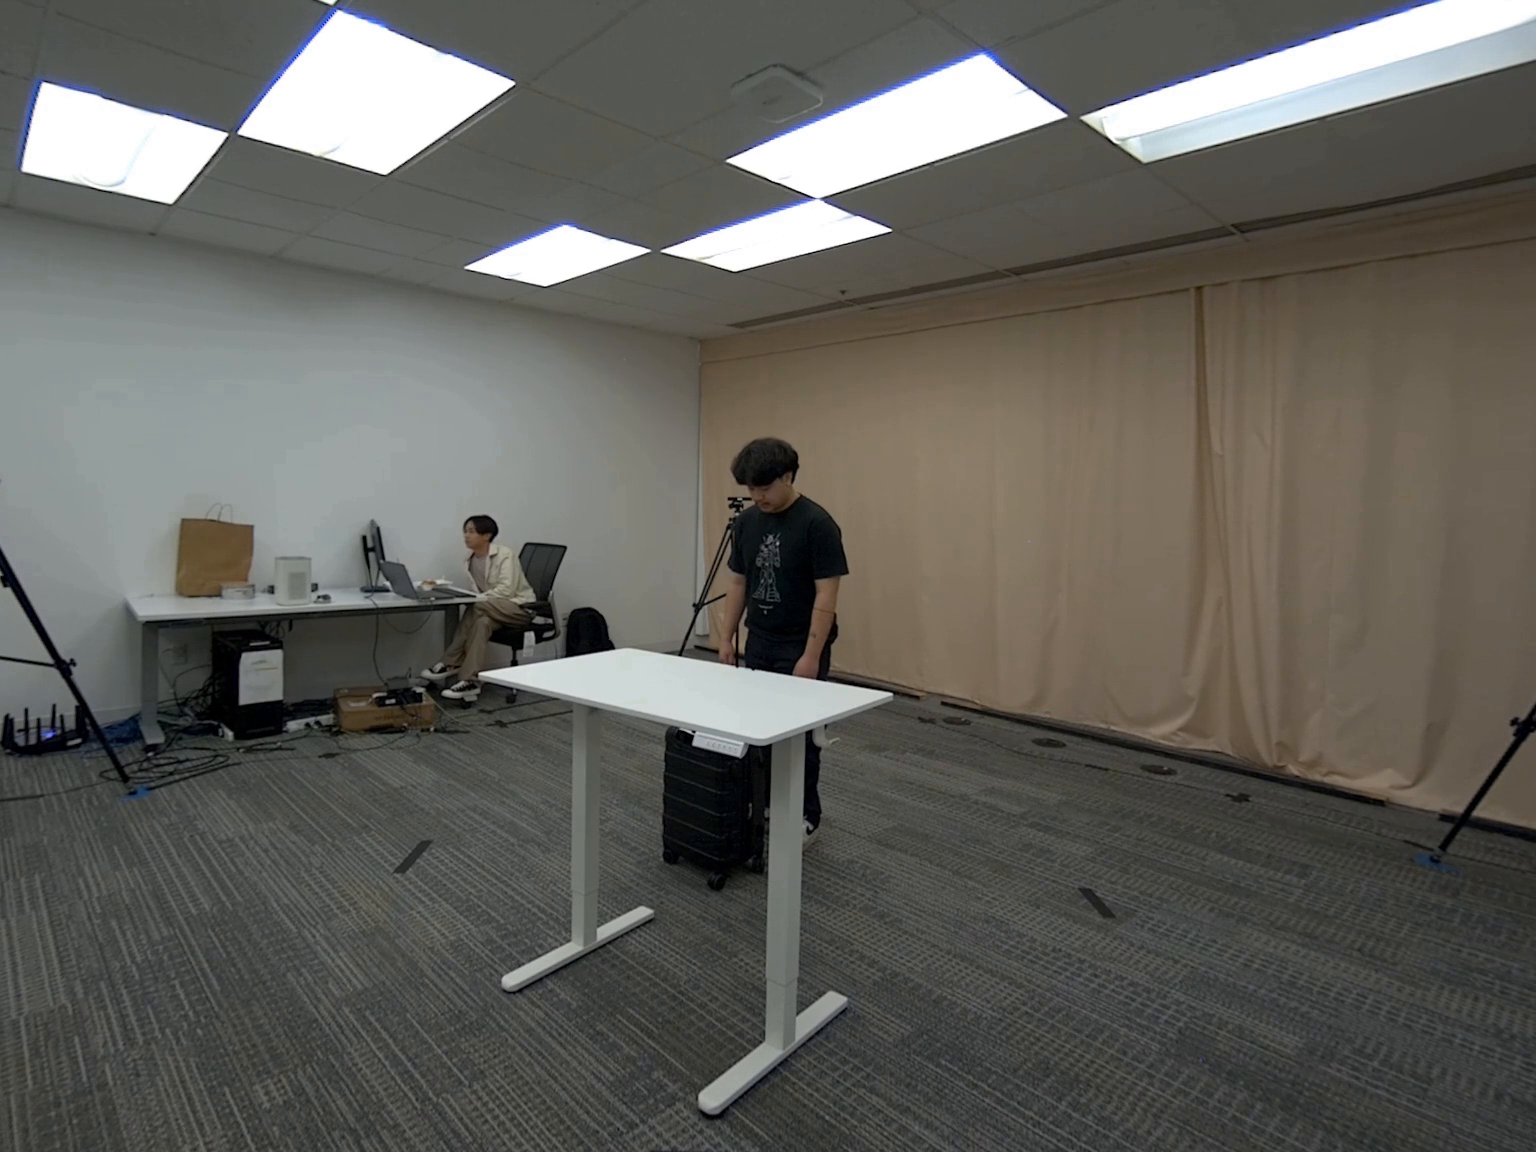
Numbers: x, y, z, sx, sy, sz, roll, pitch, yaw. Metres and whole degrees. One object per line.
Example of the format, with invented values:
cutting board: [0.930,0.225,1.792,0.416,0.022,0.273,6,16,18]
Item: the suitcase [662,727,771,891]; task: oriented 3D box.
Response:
suitcase: [-0.213,0.827,3.180,0.385,0.548,0.242,5,5,44]
